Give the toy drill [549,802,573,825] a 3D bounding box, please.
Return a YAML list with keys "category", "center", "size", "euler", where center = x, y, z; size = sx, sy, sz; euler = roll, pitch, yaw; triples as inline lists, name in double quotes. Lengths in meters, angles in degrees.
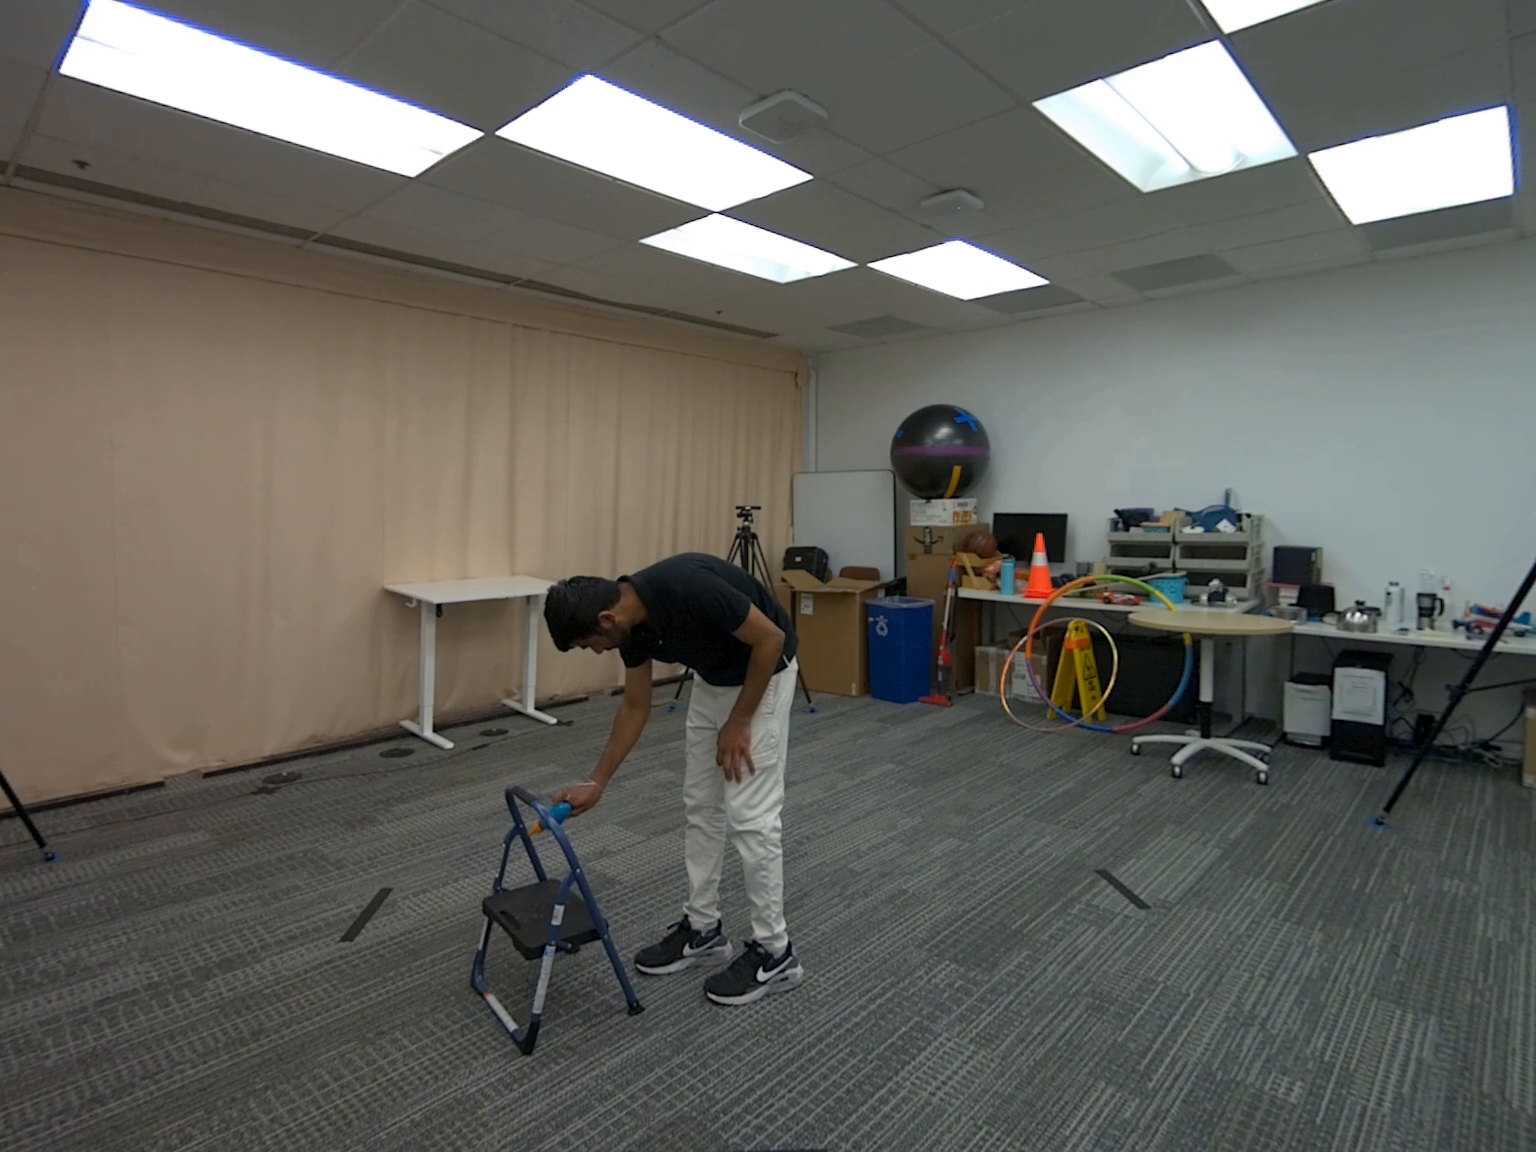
- category: "toy drill"
  center: [-0.622, 0.711, 2.492]
  size: [0.171, 0.062, 0.142]
  euler: [-41, -19, 14]
